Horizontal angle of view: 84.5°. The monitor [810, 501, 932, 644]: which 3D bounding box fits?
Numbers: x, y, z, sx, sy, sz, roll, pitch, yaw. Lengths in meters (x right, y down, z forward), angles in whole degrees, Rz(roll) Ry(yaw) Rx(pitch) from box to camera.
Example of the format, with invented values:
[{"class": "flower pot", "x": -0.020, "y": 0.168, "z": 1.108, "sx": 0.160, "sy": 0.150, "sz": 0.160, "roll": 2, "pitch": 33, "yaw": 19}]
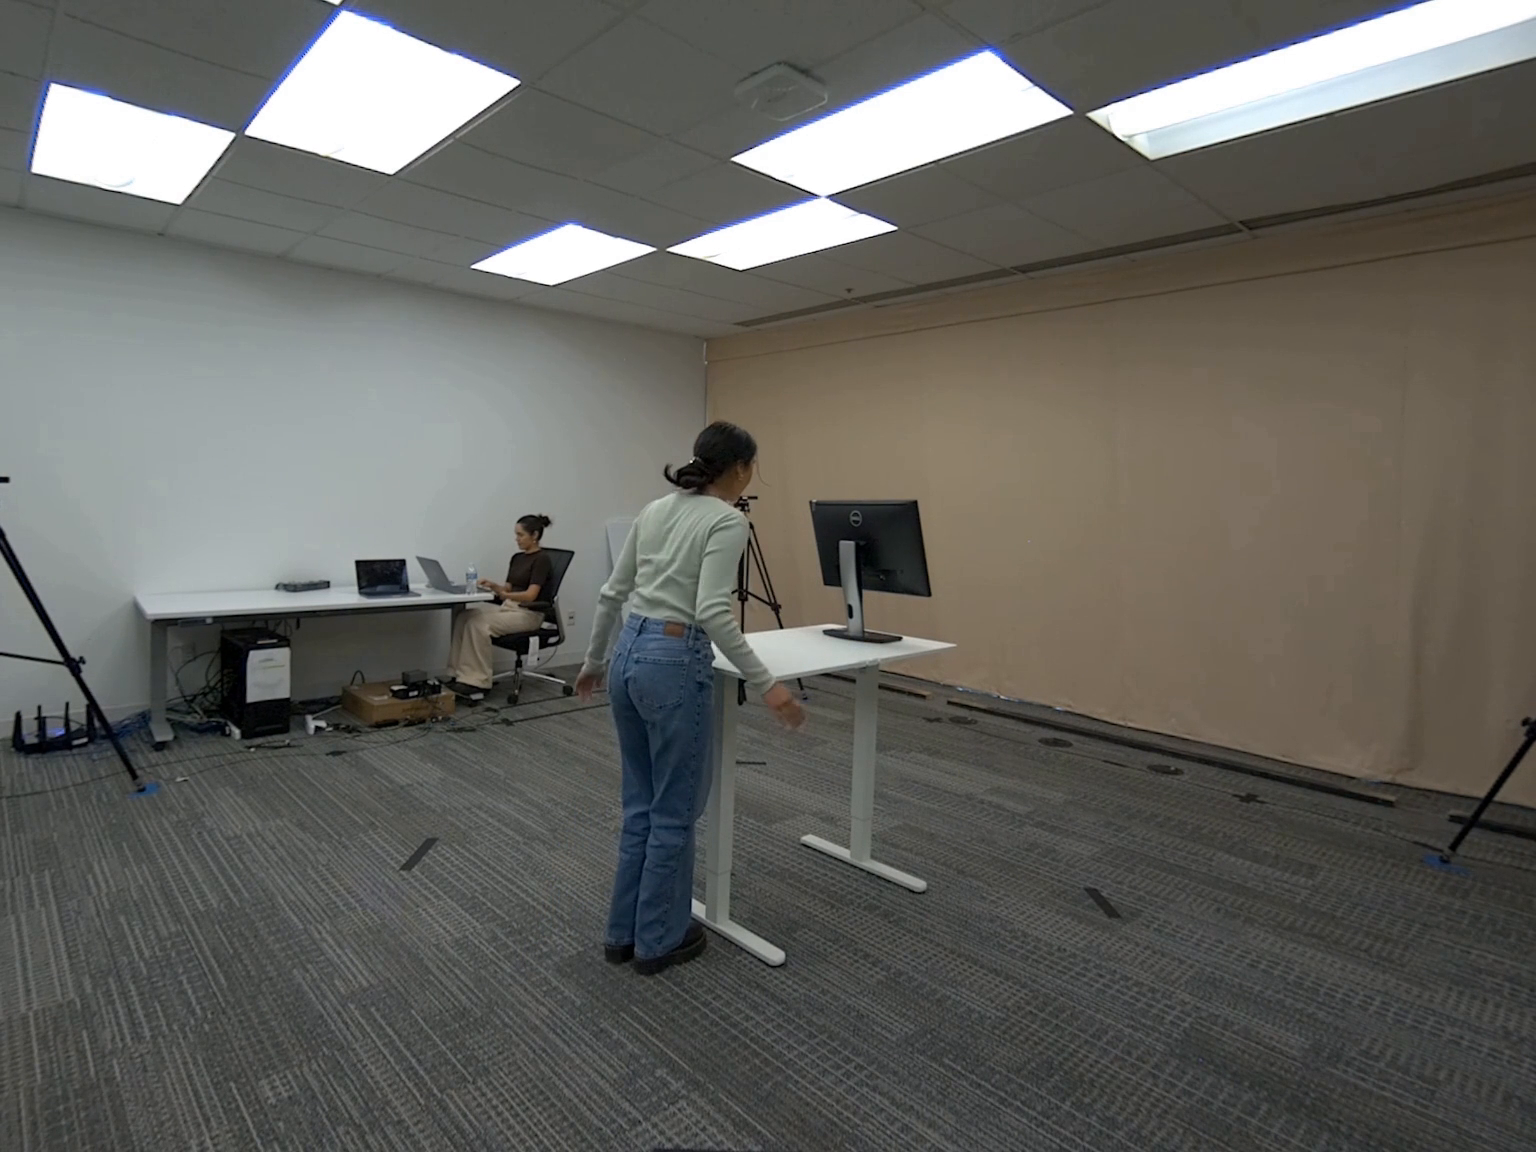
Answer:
[{"class": "monitor", "x": 0.346, "y": -0.019, "z": 3.127, "sx": 0.183, "sy": 0.521, "sz": 0.553, "roll": -4, "pitch": 6, "yaw": -41}]
